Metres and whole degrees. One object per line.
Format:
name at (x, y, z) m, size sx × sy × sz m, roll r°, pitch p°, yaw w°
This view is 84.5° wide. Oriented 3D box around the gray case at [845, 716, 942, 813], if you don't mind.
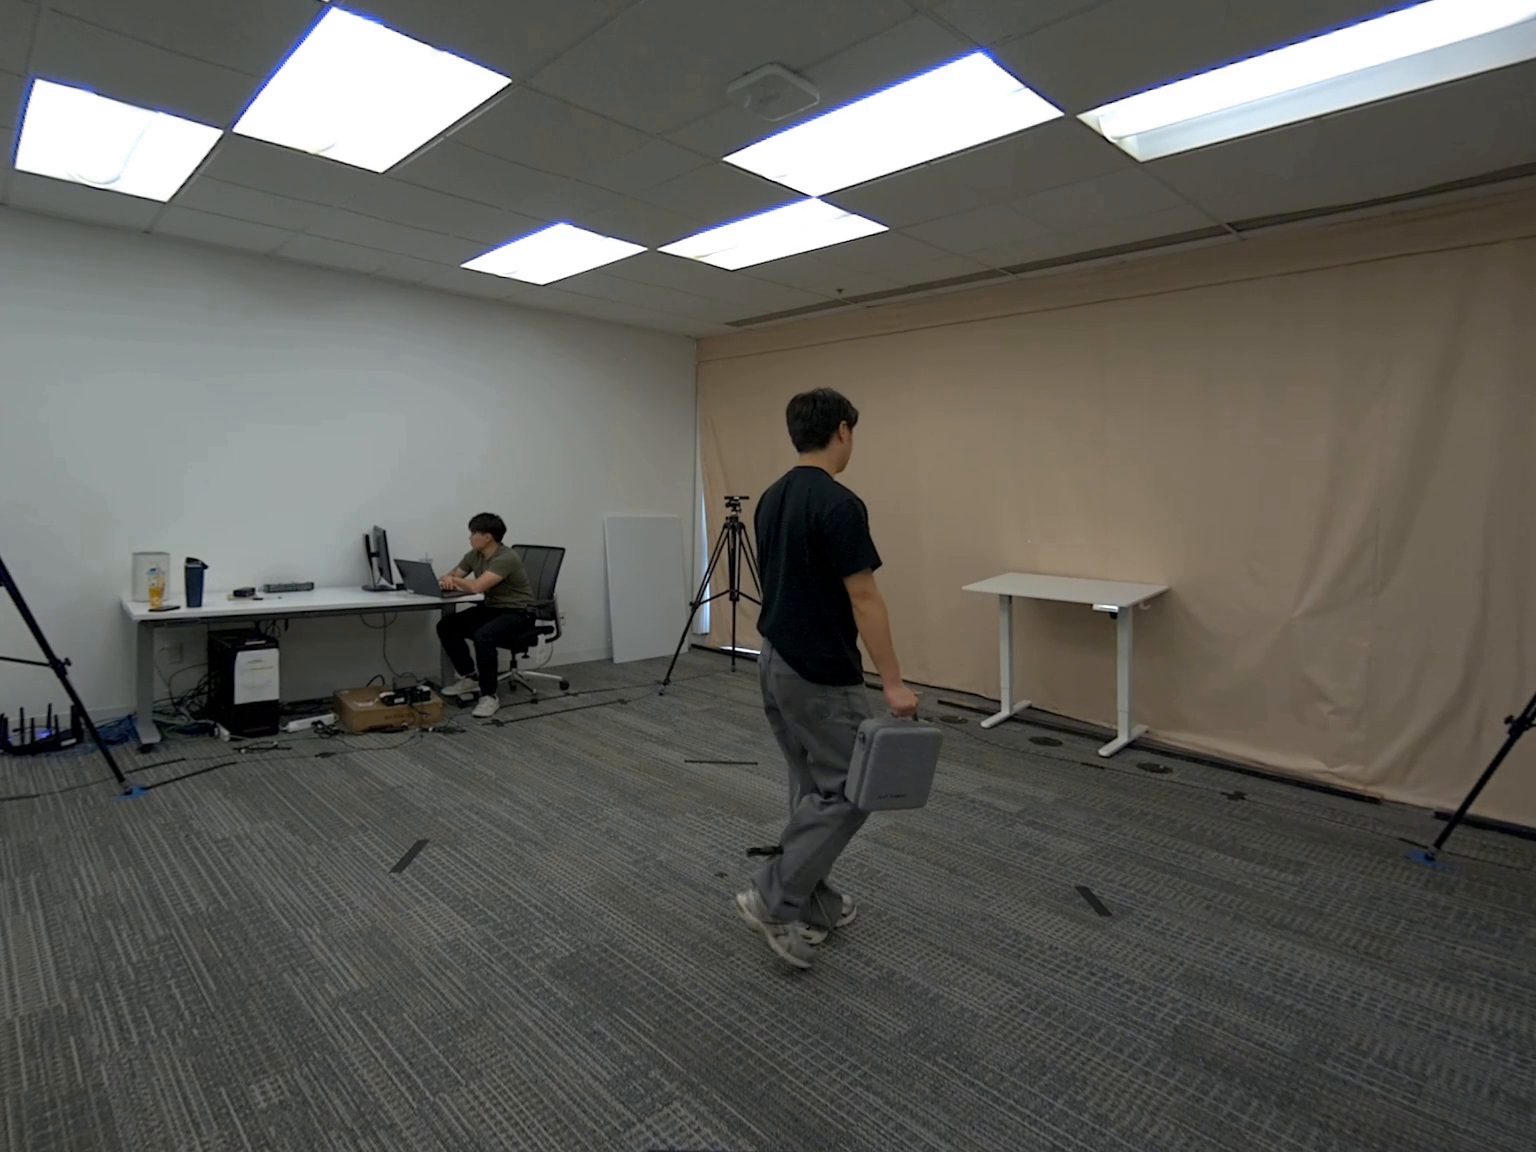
gray case at (0.354, 0.525, 2.437) m, size 0.257 × 0.286 × 0.105 m, roll 7°, pitch 4°, yaw -27°
